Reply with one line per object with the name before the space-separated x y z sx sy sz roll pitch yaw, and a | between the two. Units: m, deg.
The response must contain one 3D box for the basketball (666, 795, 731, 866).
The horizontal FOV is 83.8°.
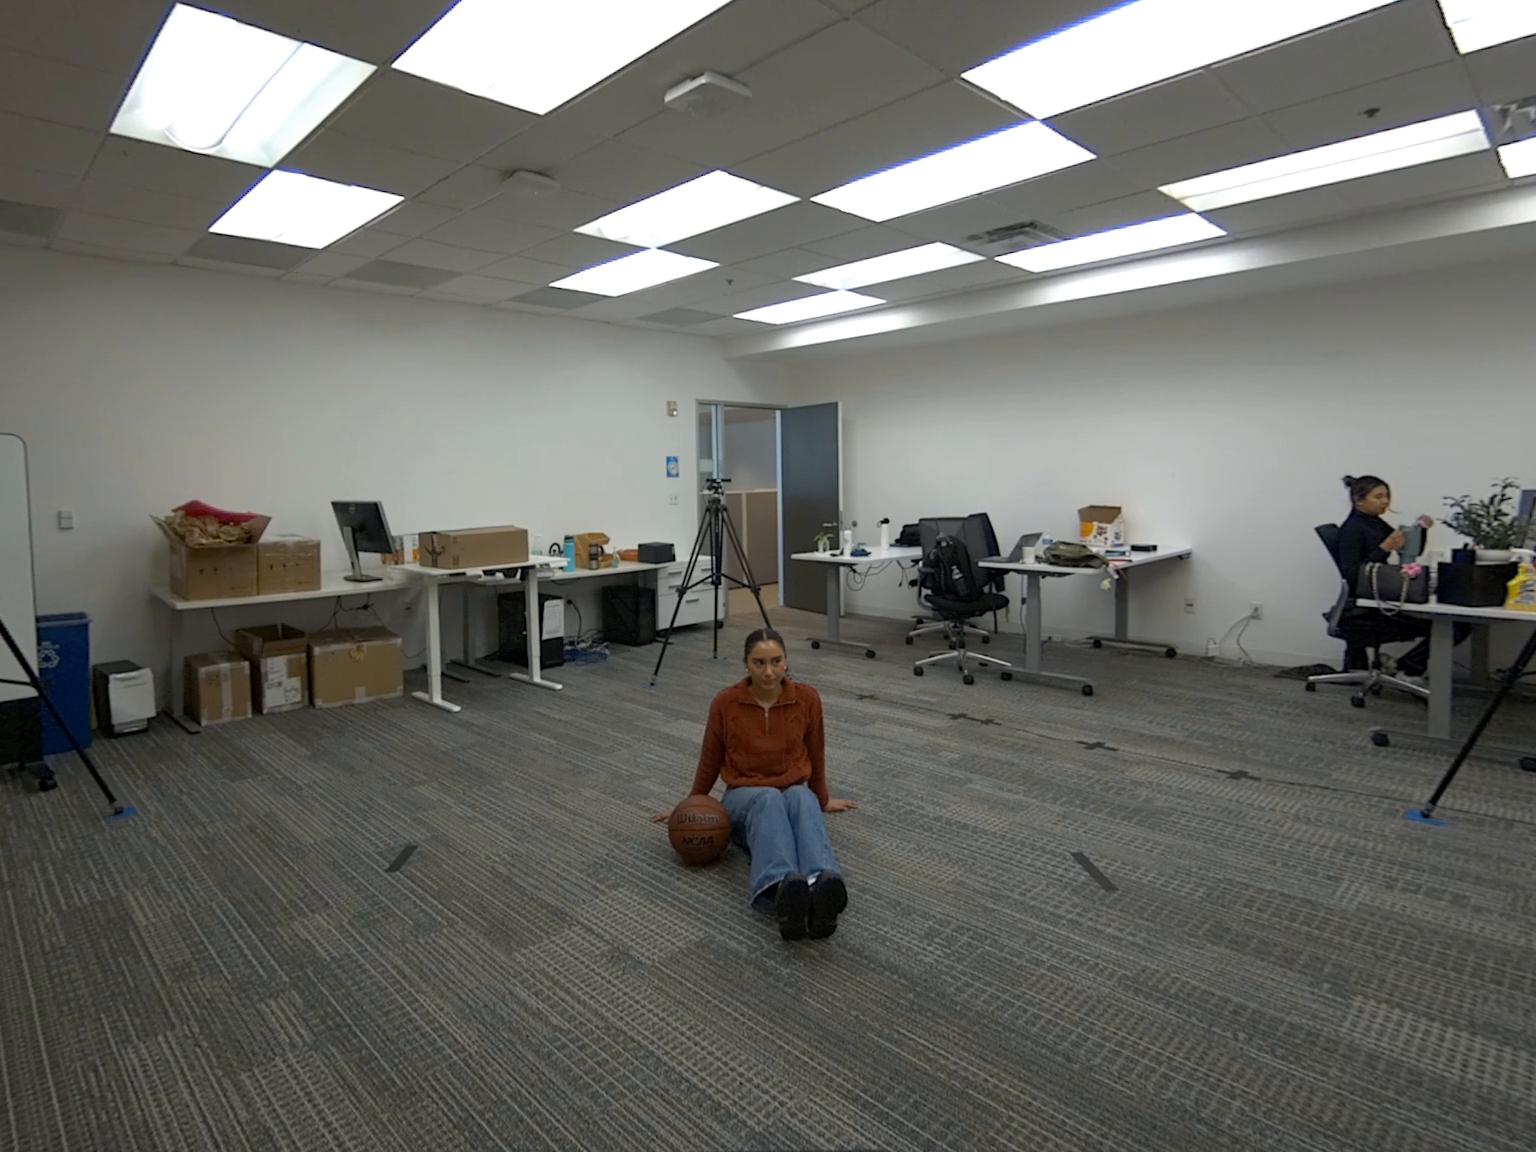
basketball | -0.250 0.925 3.132 0.236 0.235 0.237 -1 5 -2
